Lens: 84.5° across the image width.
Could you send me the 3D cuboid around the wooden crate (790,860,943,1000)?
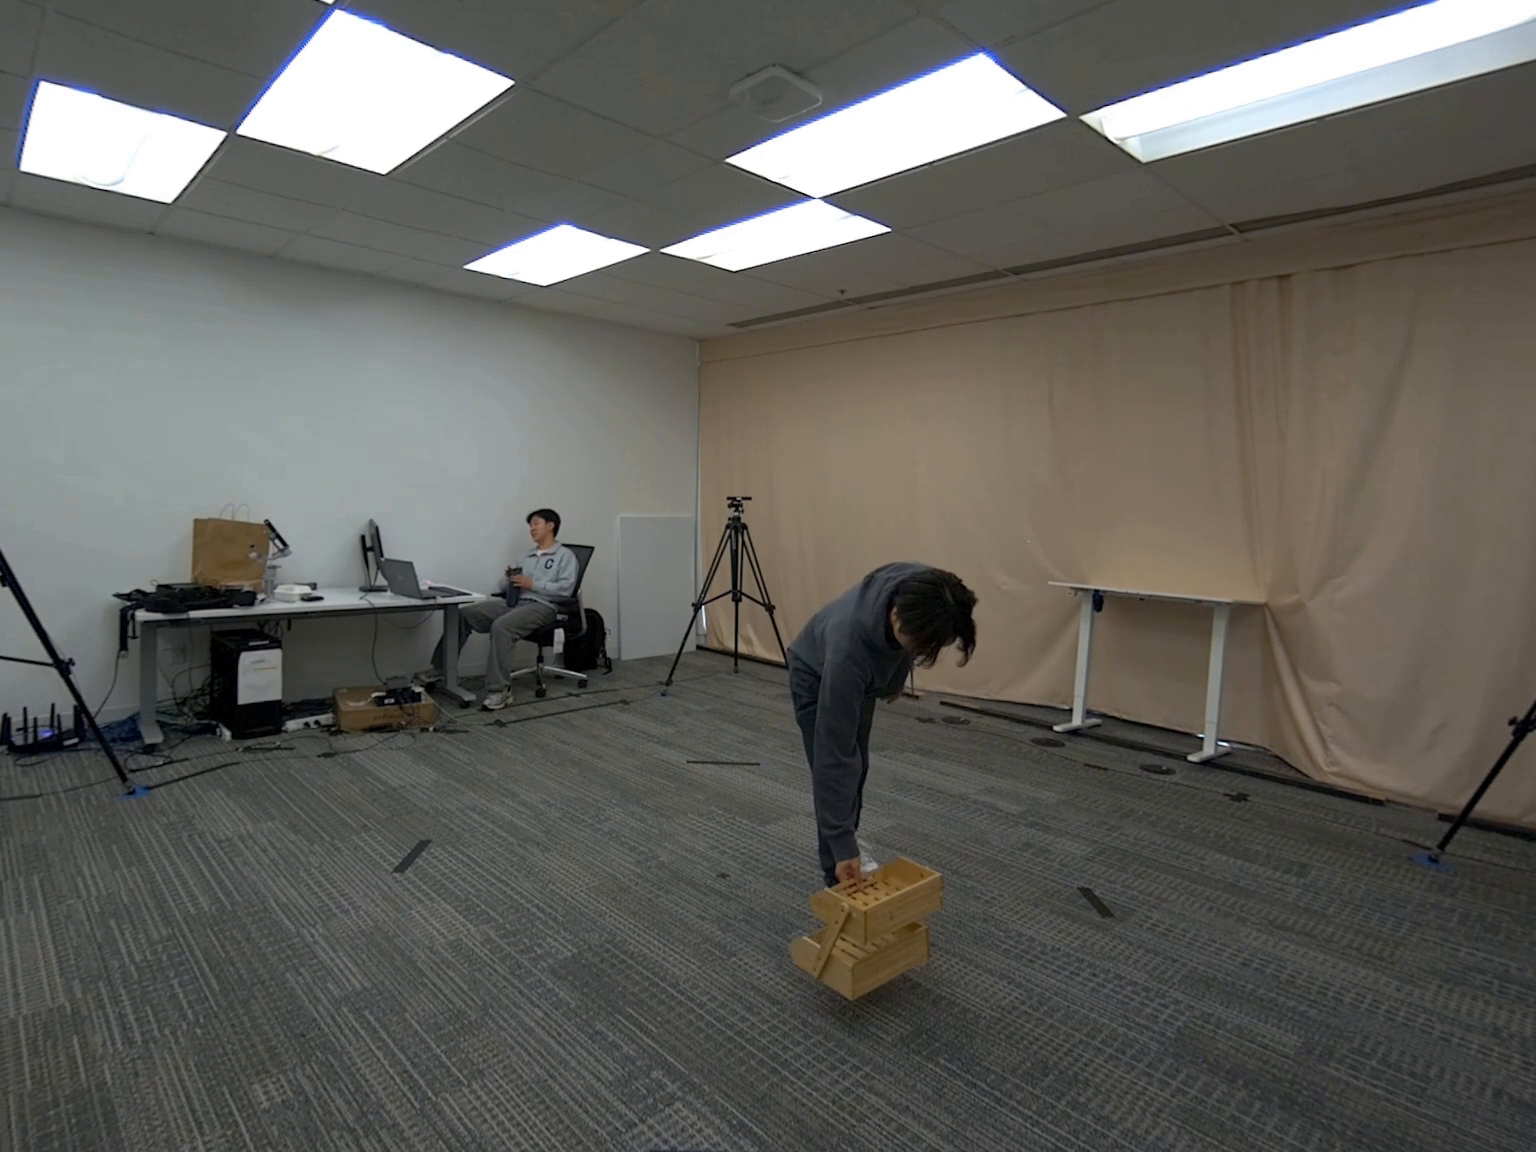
[{"bbox_3d":[0.257,0.935,2.315,0.318,0.272,0.309,-6,6,-38],"label":"wooden crate"}]
